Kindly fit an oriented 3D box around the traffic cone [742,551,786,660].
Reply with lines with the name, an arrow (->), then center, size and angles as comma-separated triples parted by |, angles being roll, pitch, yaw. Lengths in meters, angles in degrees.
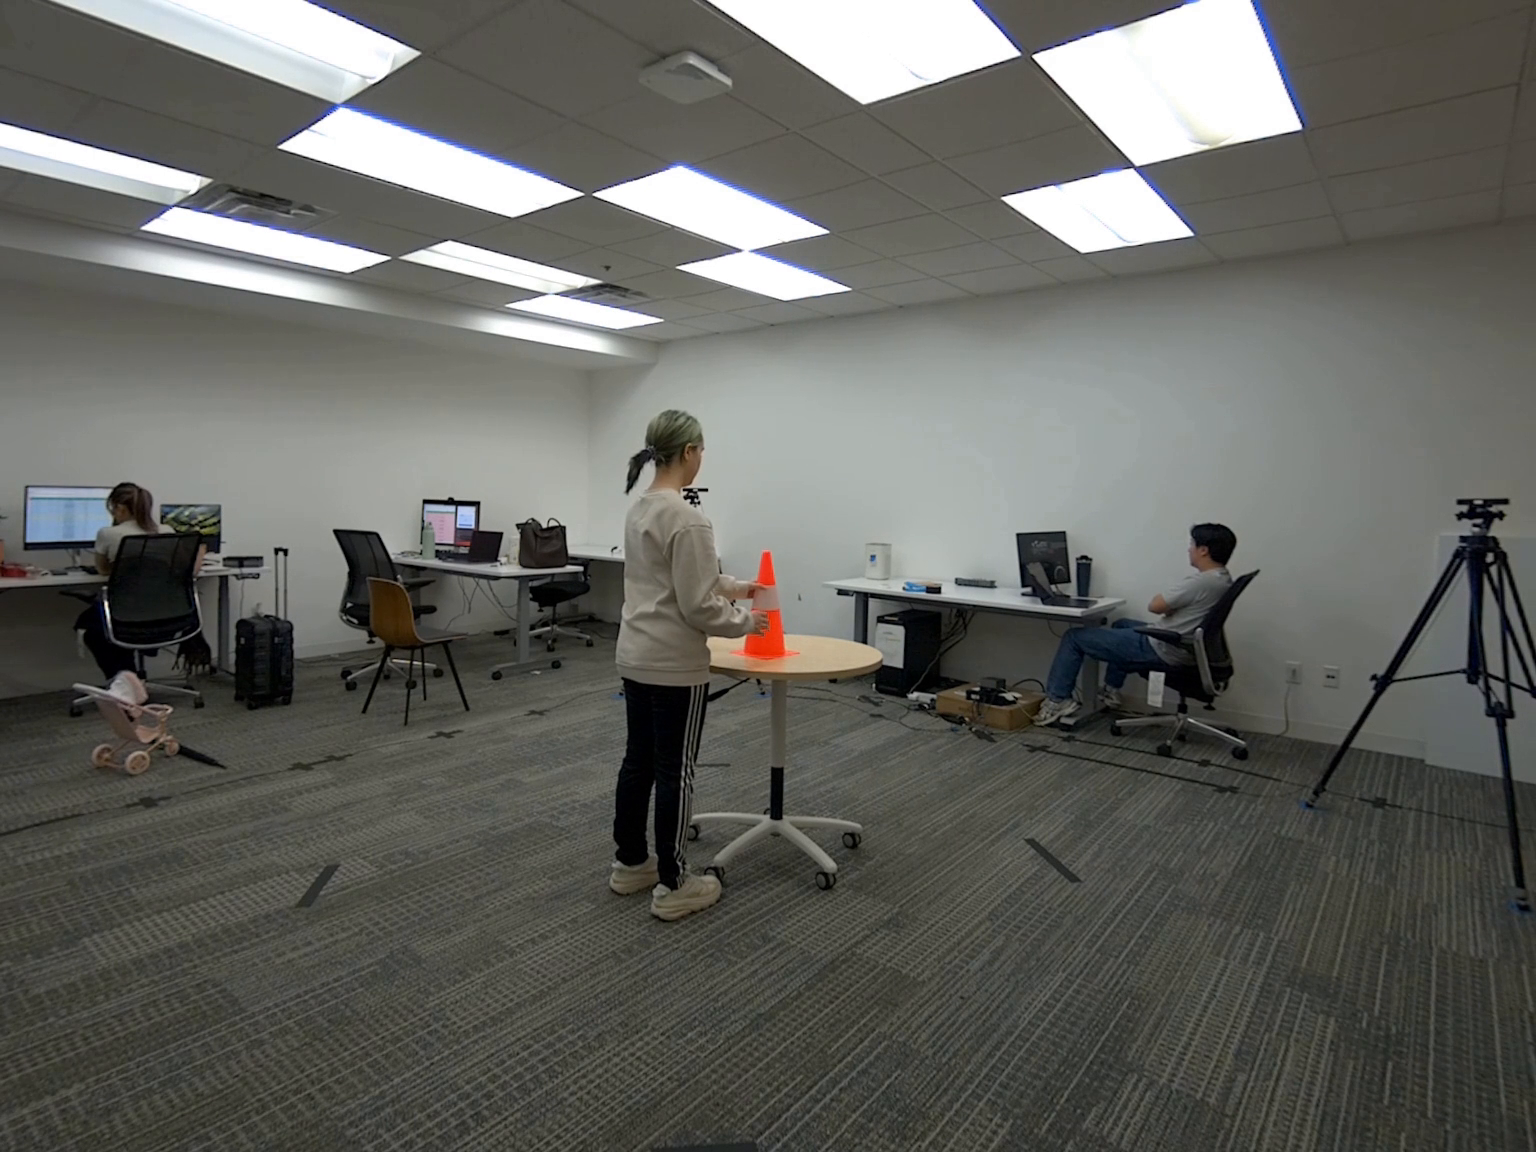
traffic cone -> -0.022, 0.090, 3.165 | 0.211, 0.382, 0.198 | 3, 5, 37
